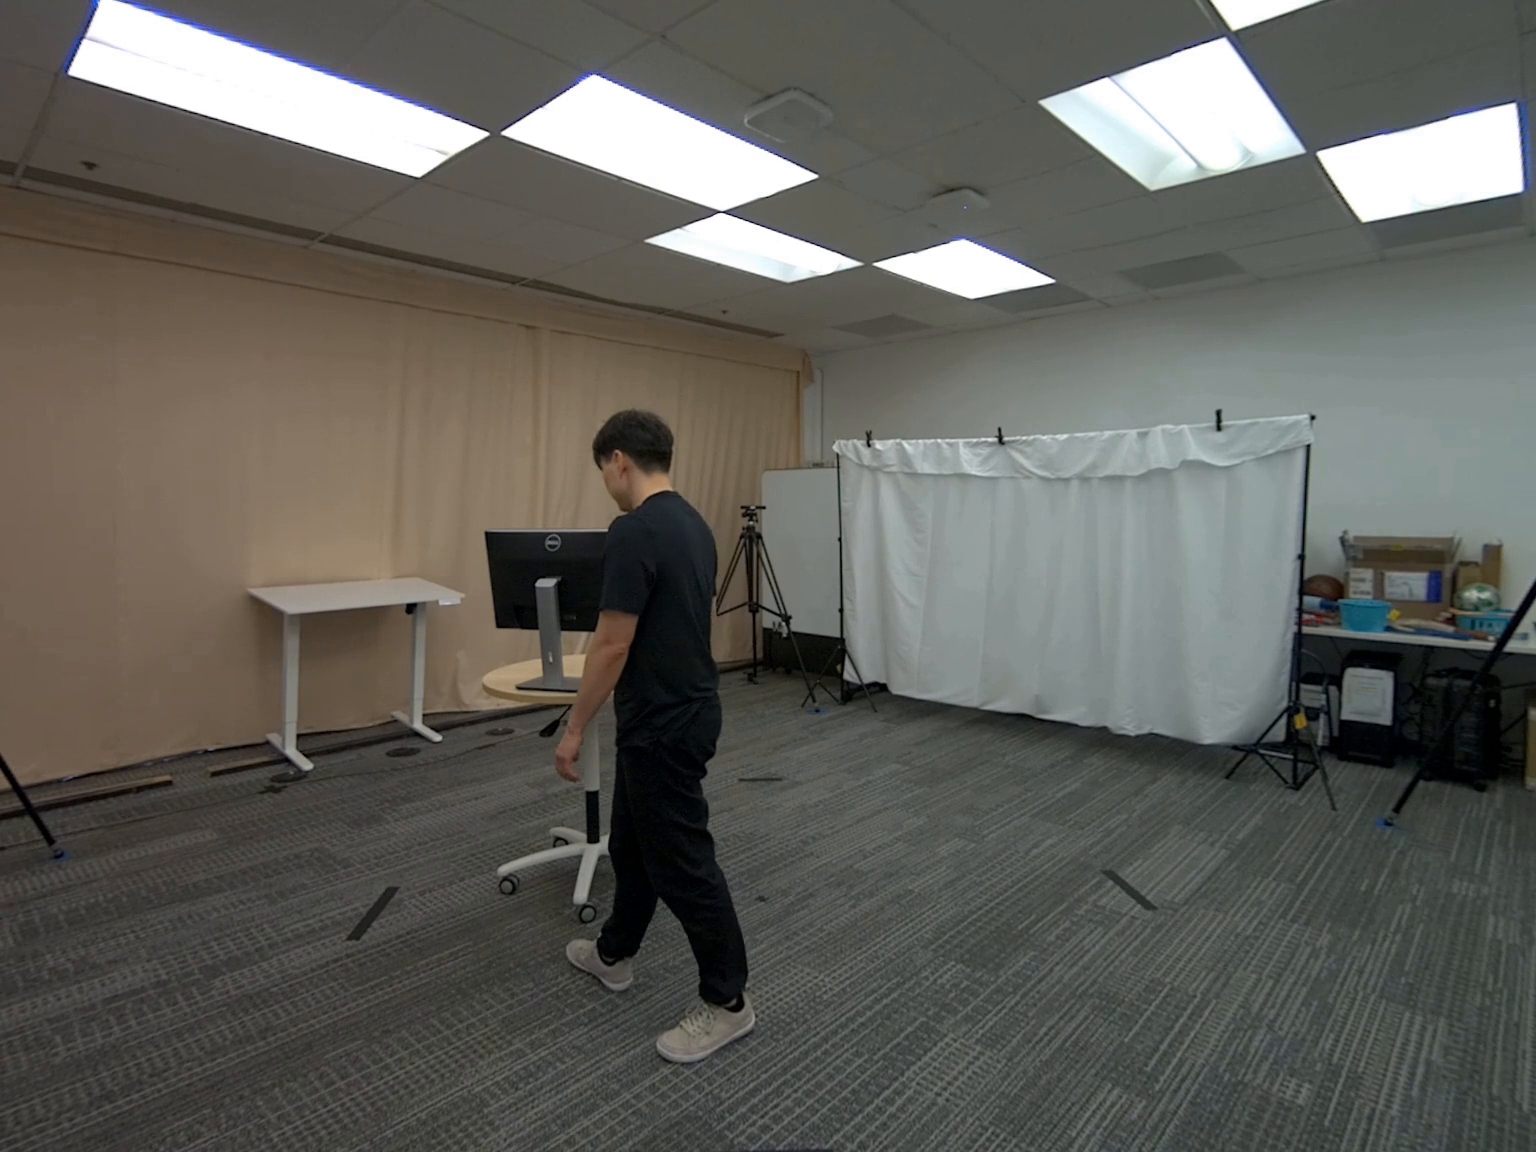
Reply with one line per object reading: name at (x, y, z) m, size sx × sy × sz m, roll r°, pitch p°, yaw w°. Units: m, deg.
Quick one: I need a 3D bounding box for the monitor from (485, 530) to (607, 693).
monitor at (-0.719, 0.114, 2.890) m, size 0.548 × 0.522 × 0.184 m, roll 0°, pitch 1°, yaw 15°
